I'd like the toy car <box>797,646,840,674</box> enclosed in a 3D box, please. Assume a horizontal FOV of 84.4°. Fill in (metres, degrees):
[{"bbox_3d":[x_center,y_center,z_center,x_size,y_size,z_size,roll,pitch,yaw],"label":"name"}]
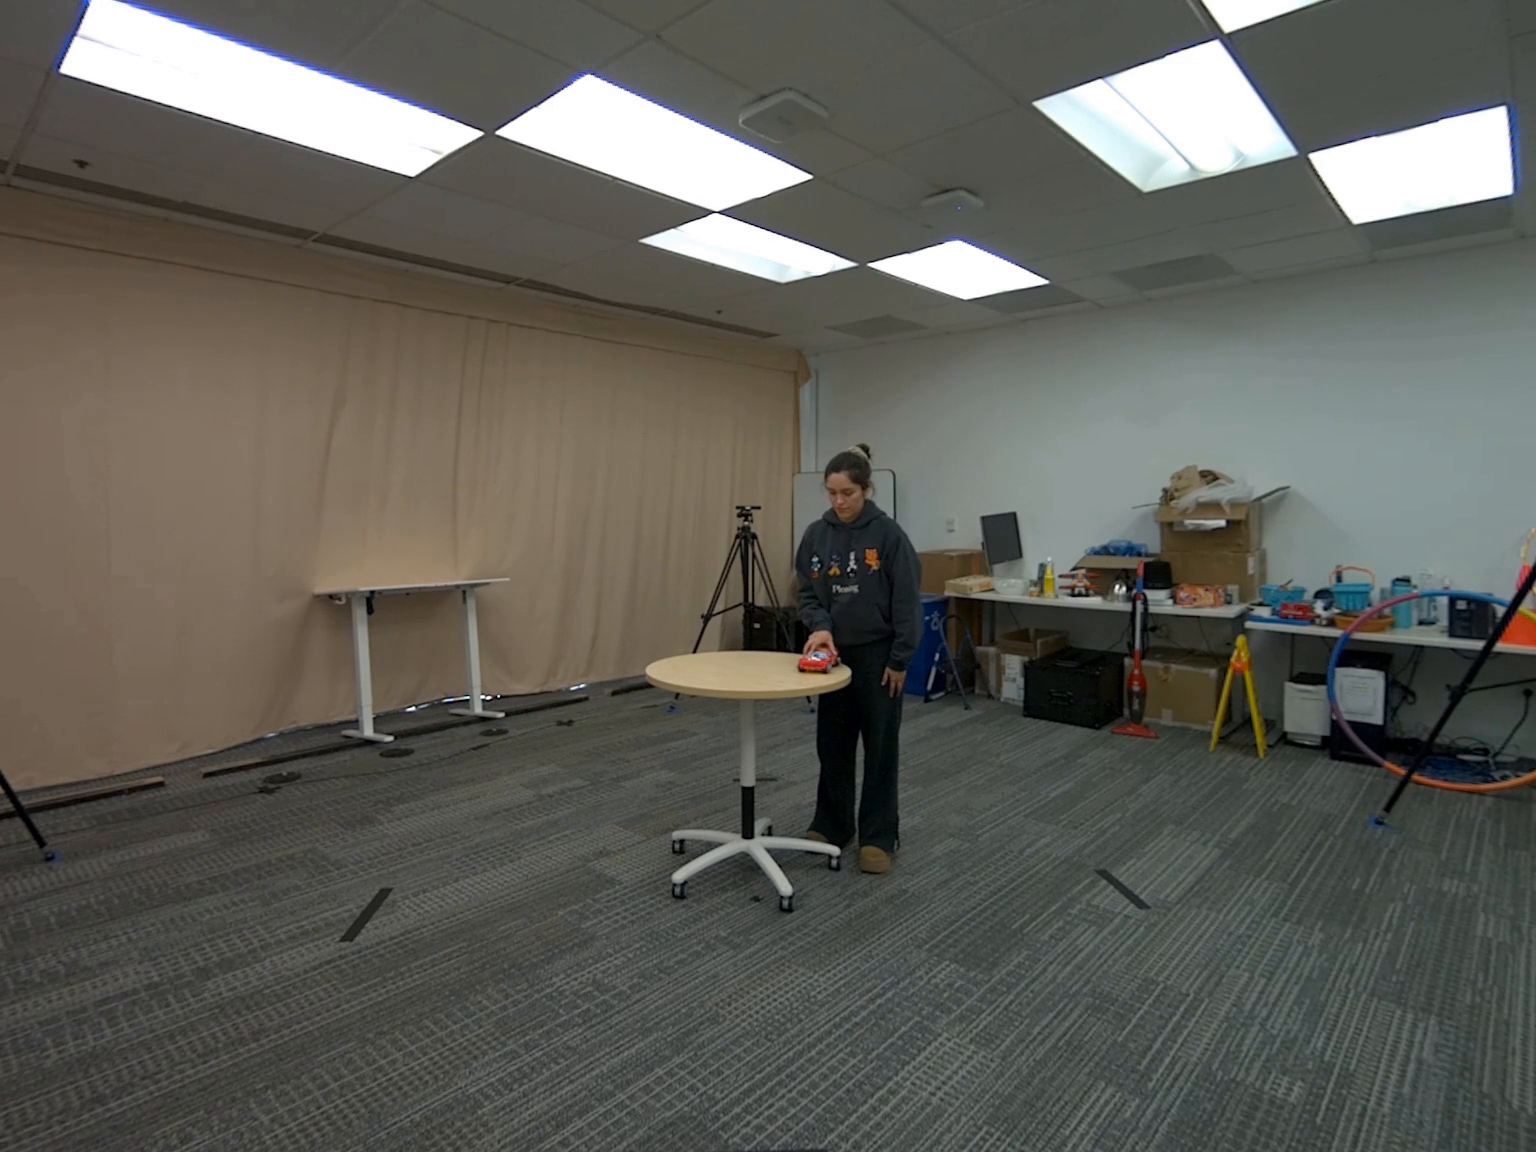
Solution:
[{"bbox_3d":[0.207,0.309,3.158,0.133,0.082,0.252,-3,14,19],"label":"toy car"}]
